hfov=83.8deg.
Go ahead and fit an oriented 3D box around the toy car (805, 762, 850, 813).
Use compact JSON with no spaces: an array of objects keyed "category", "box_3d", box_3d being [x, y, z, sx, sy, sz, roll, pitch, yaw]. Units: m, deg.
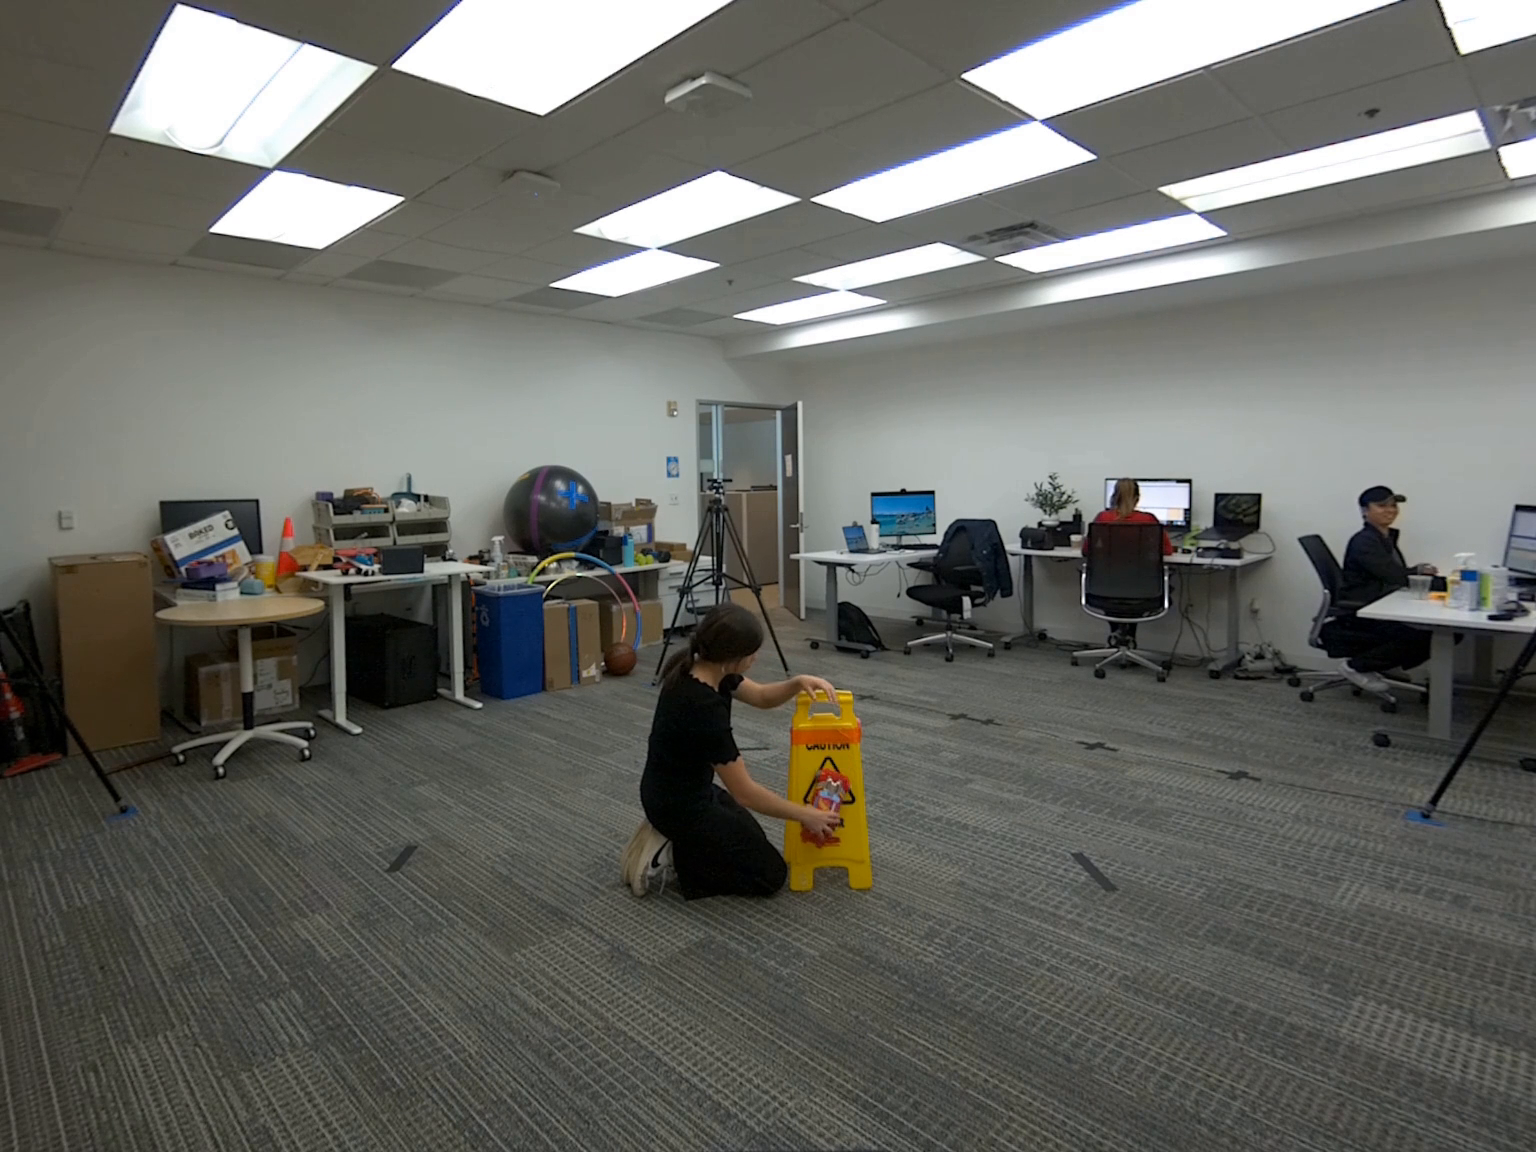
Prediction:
[{"category":"toy car","box_3d":[0.175,0.789,2.884,0.130,0.256,0.083,21,-15,-4]}]
